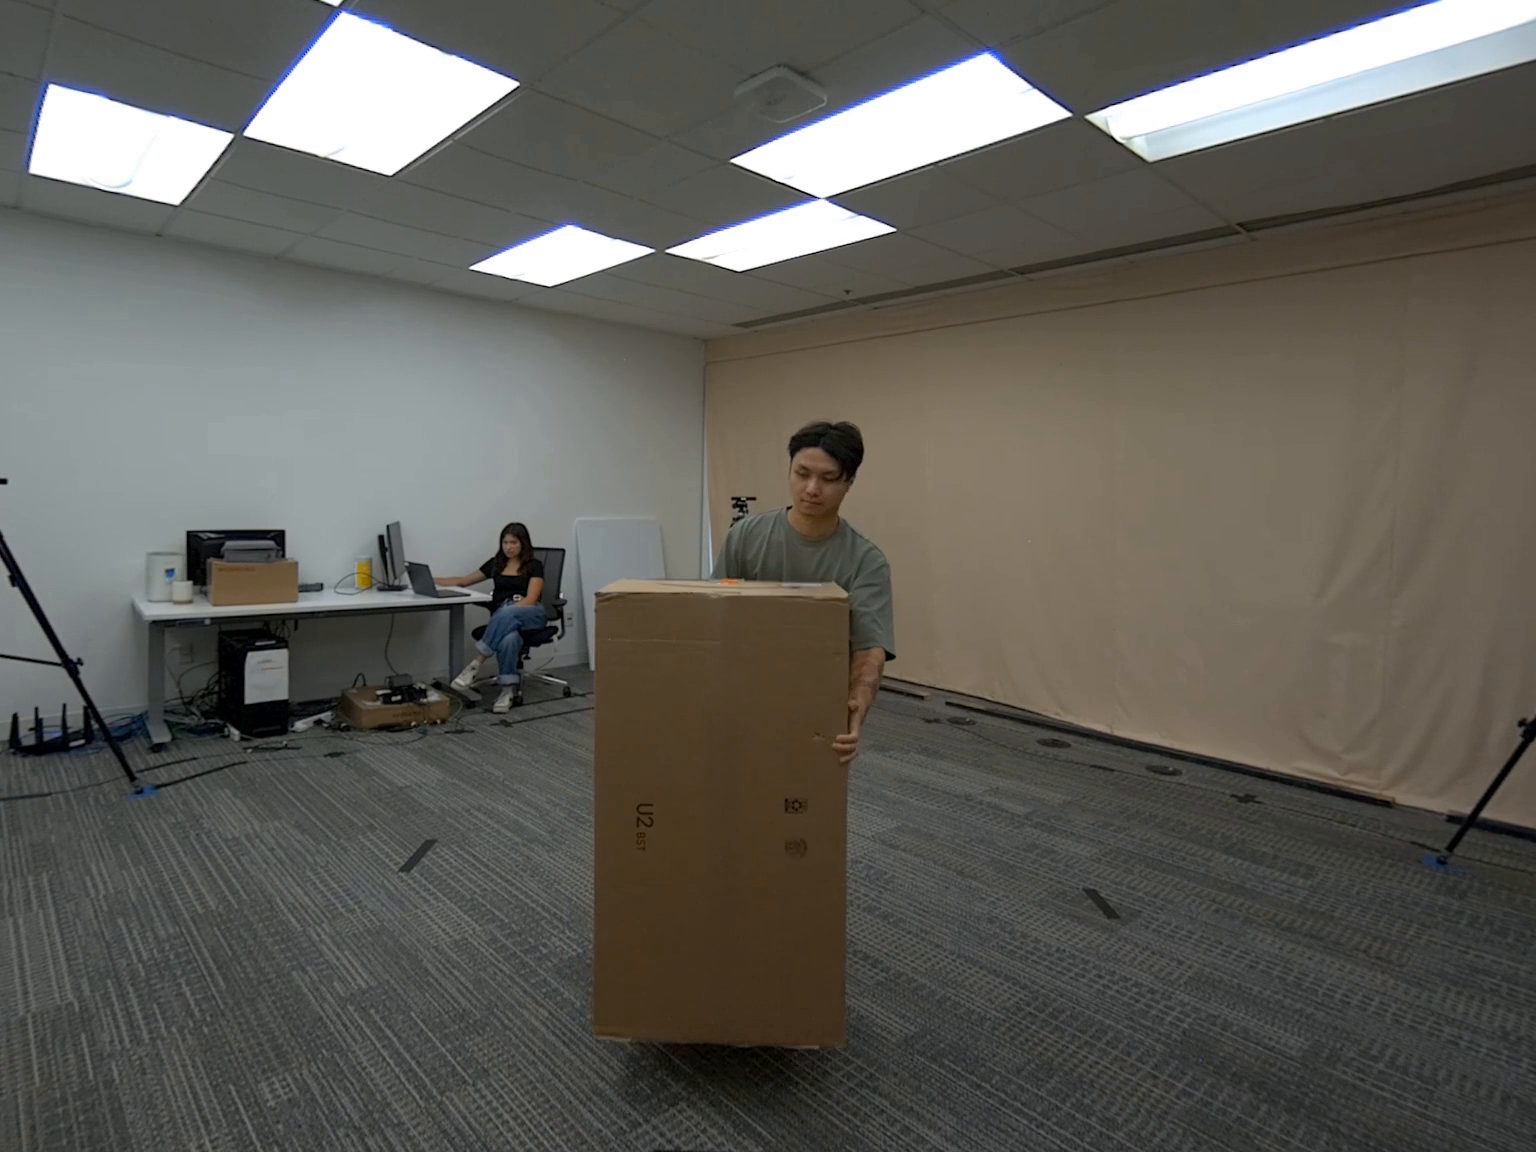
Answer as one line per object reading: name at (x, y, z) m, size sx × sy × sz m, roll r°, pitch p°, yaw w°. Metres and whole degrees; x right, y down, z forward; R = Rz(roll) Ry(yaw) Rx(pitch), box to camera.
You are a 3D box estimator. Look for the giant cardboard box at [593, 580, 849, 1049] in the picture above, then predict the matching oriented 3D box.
giant cardboard box at (-0.117, 0.546, 2.089) m, size 0.578 × 1.024 × 0.427 m, roll 0°, pitch 2°, yaw 0°
